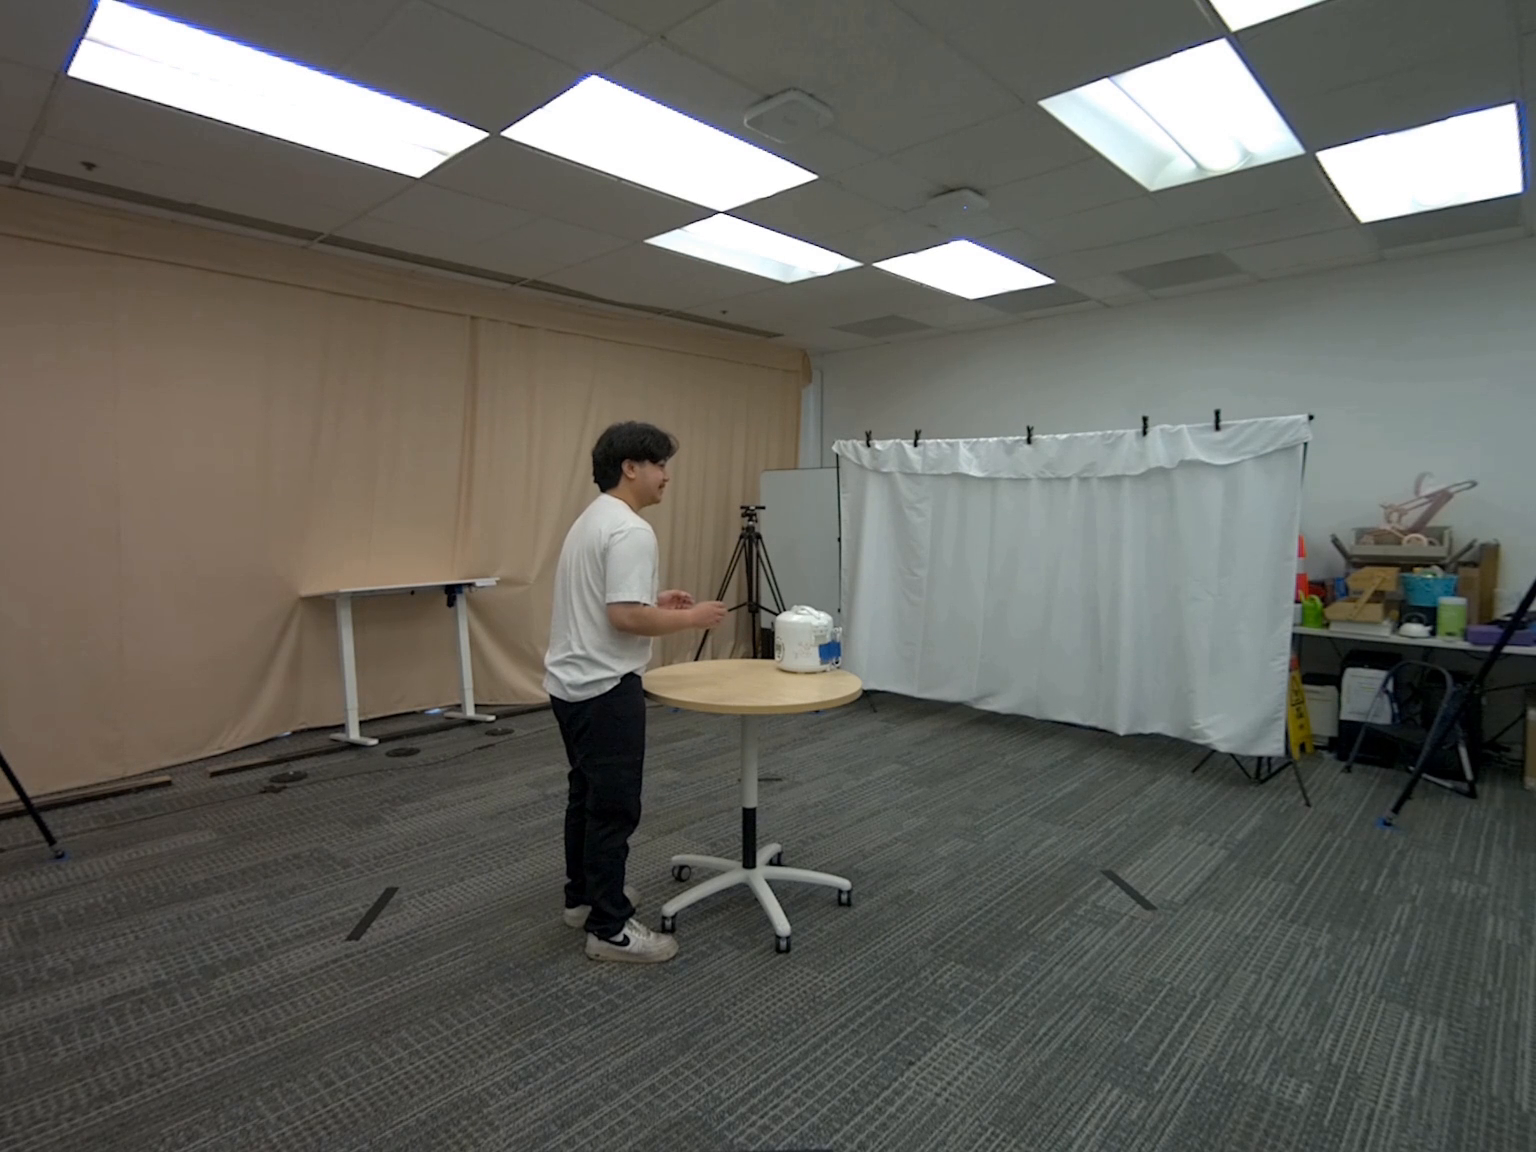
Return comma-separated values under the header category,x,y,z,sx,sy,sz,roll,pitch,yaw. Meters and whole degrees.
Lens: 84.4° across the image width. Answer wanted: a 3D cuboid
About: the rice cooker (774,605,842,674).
category,x,y,z,sx,sy,sz,roll,pitch,yaw
rice cooker,0.136,0.225,3.060,0.212,0.232,0.227,-1,3,-28
